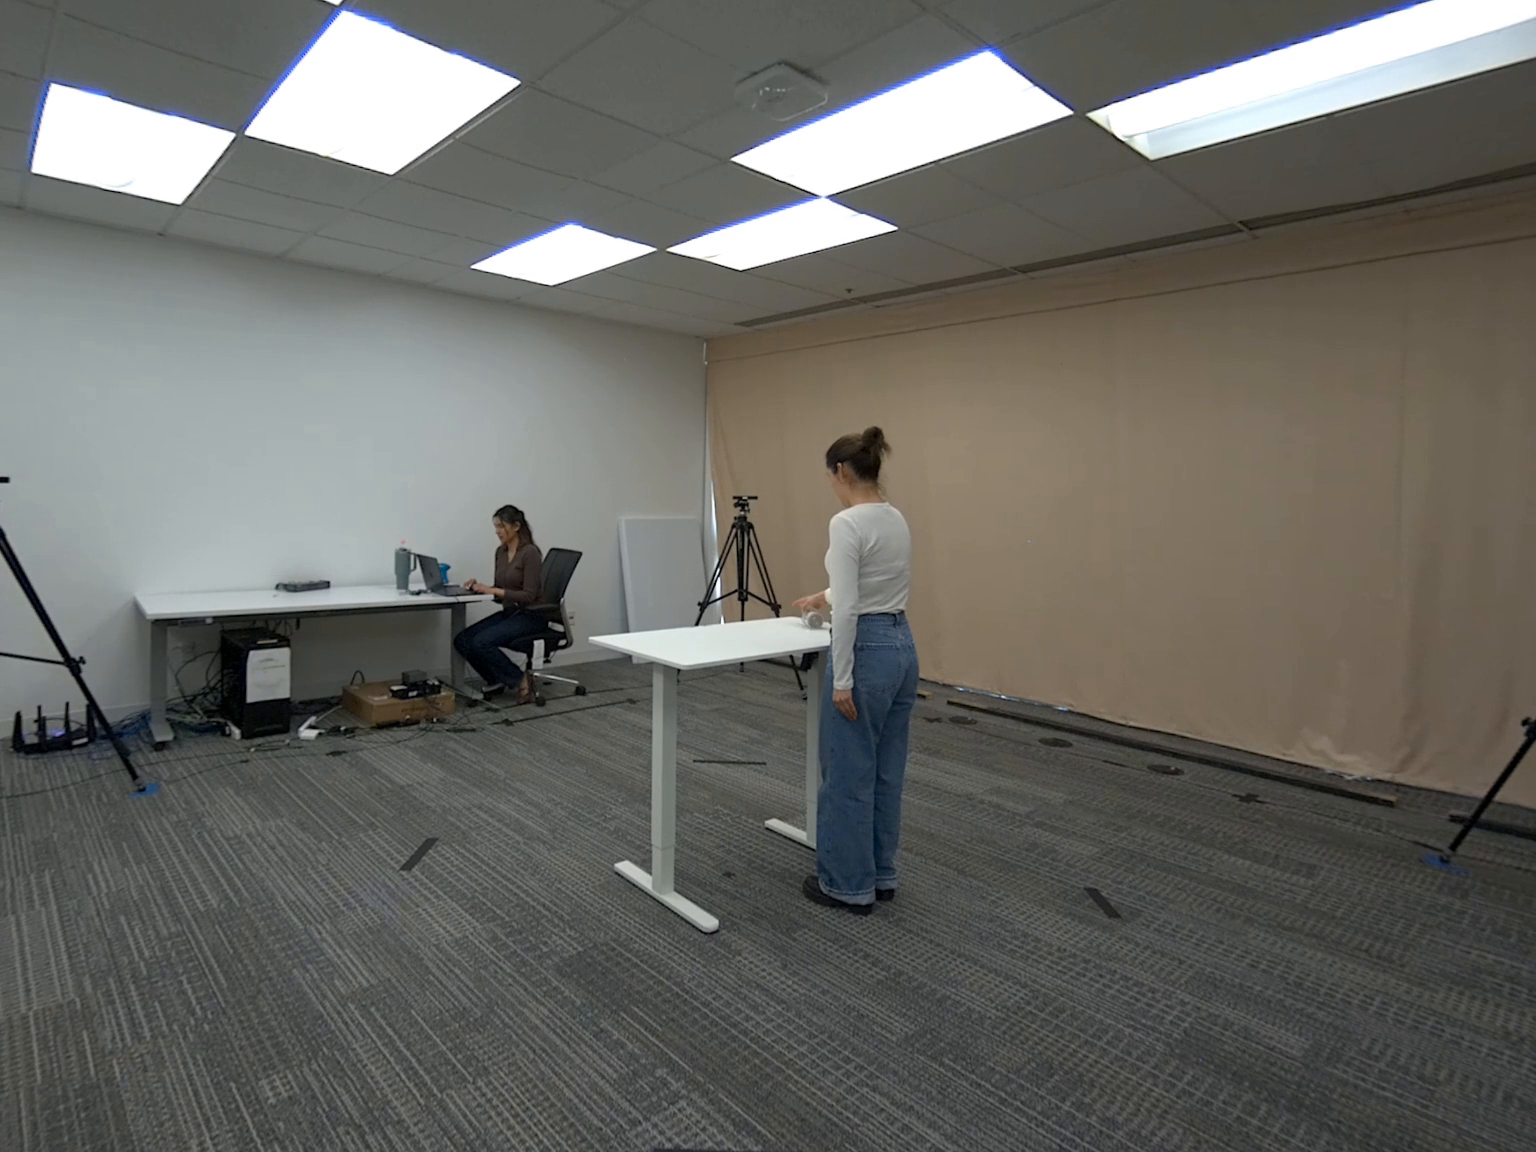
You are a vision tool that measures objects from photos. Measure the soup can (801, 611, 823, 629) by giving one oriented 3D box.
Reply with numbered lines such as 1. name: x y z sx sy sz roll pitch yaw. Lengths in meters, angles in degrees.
1. soup can: 0.165 0.171 3.342 0.067 0.067 0.122 1 2 -5
